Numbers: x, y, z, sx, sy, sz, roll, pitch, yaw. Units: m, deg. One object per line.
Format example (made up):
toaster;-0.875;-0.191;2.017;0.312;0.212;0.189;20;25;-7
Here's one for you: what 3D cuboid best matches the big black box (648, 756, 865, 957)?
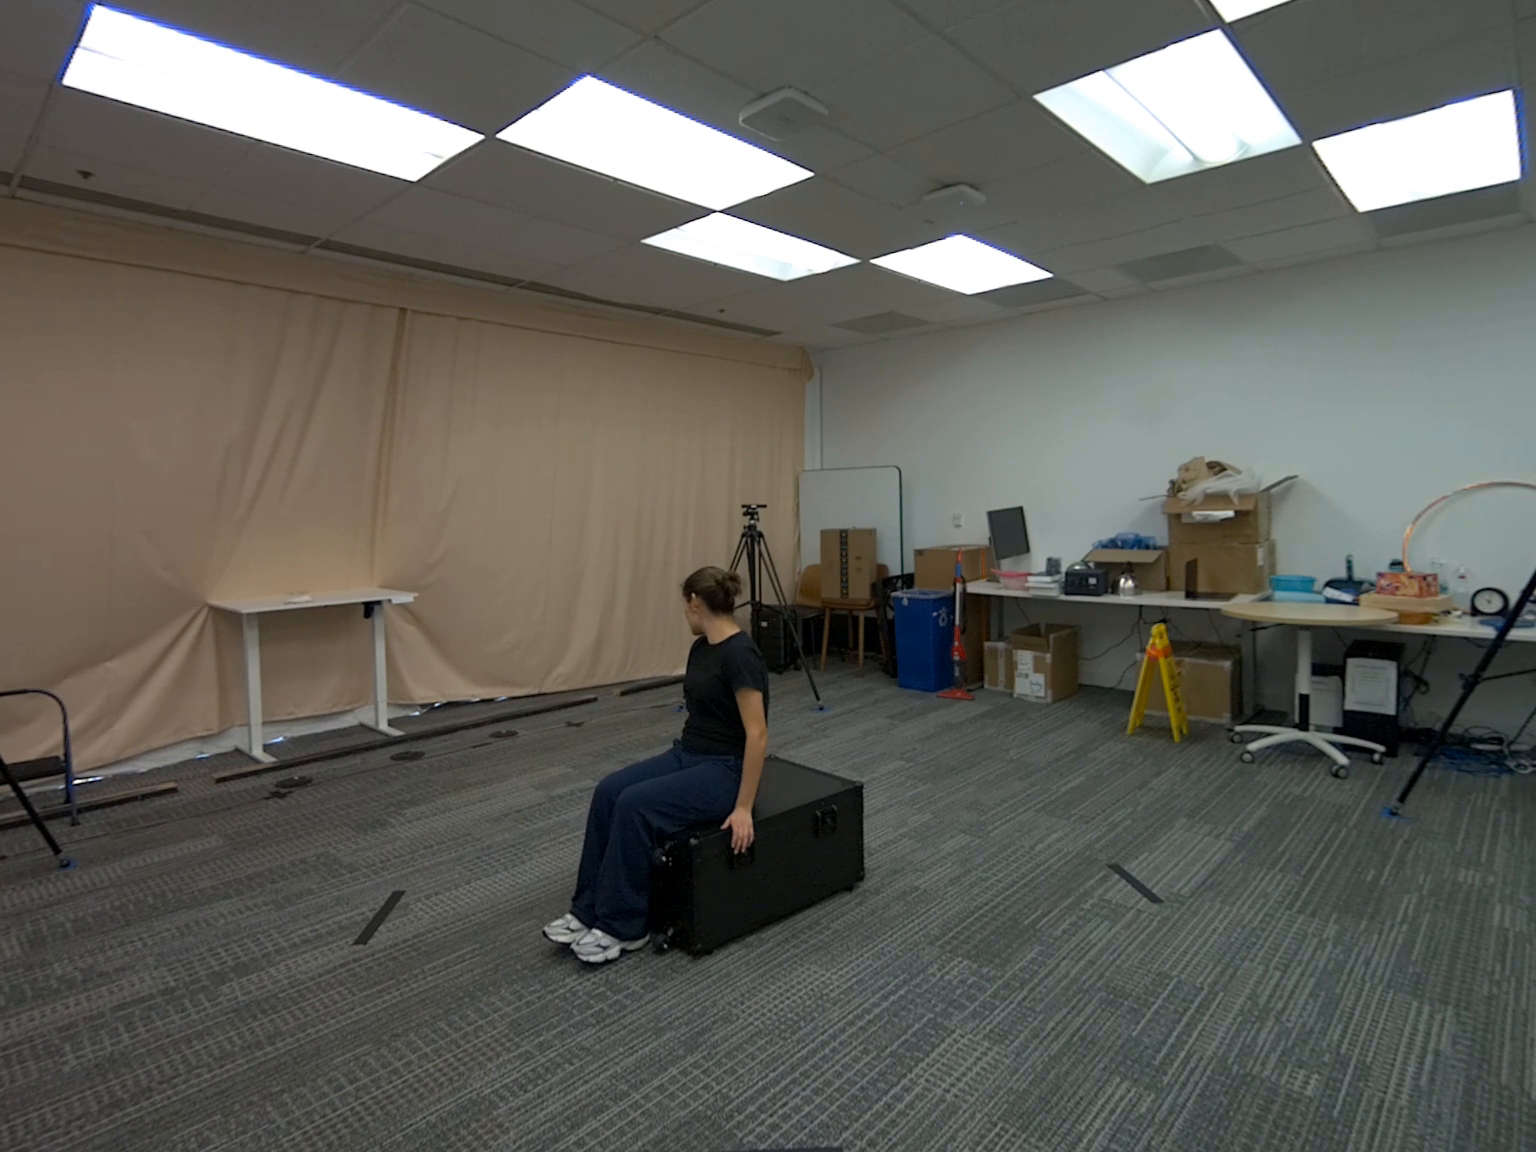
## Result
big black box;-0.058;0.949;3.004;0.836;0.395;0.538;-6;7;-40
